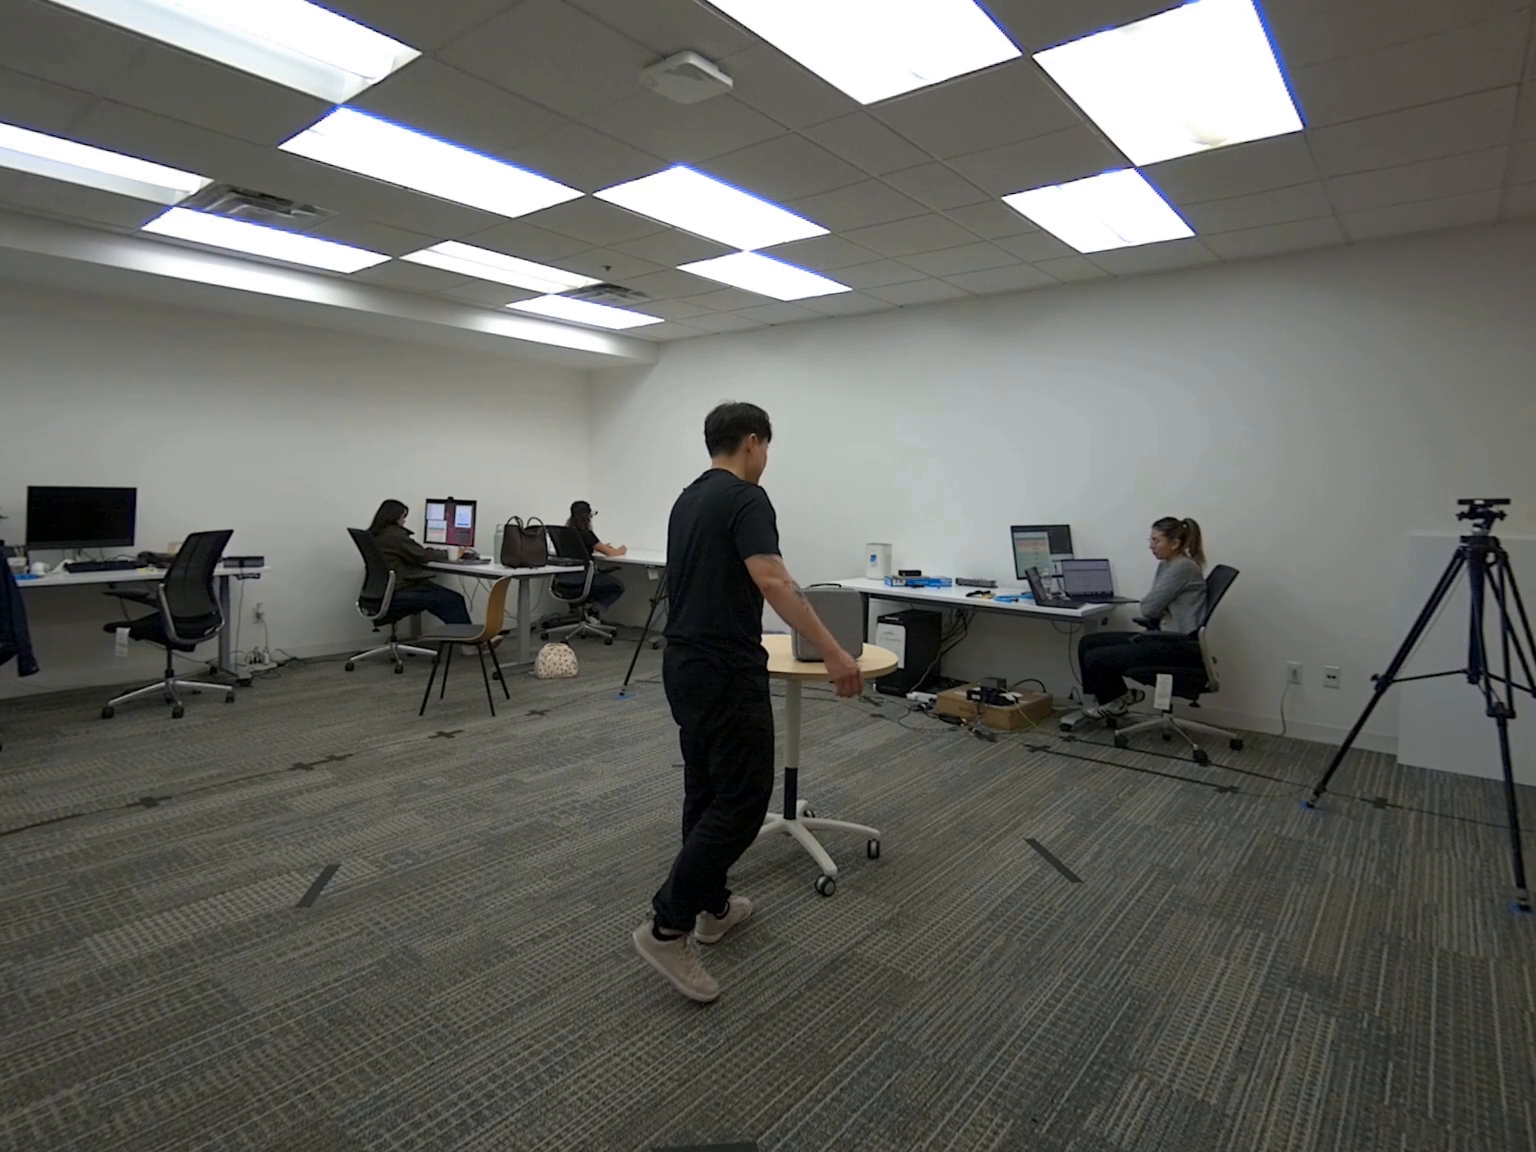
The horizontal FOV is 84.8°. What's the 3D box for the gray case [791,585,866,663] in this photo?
[{"bbox_3d":[0.207,0.169,3.092,0.254,0.263,0.104,1,-8,-10],"label":"gray case"}]
